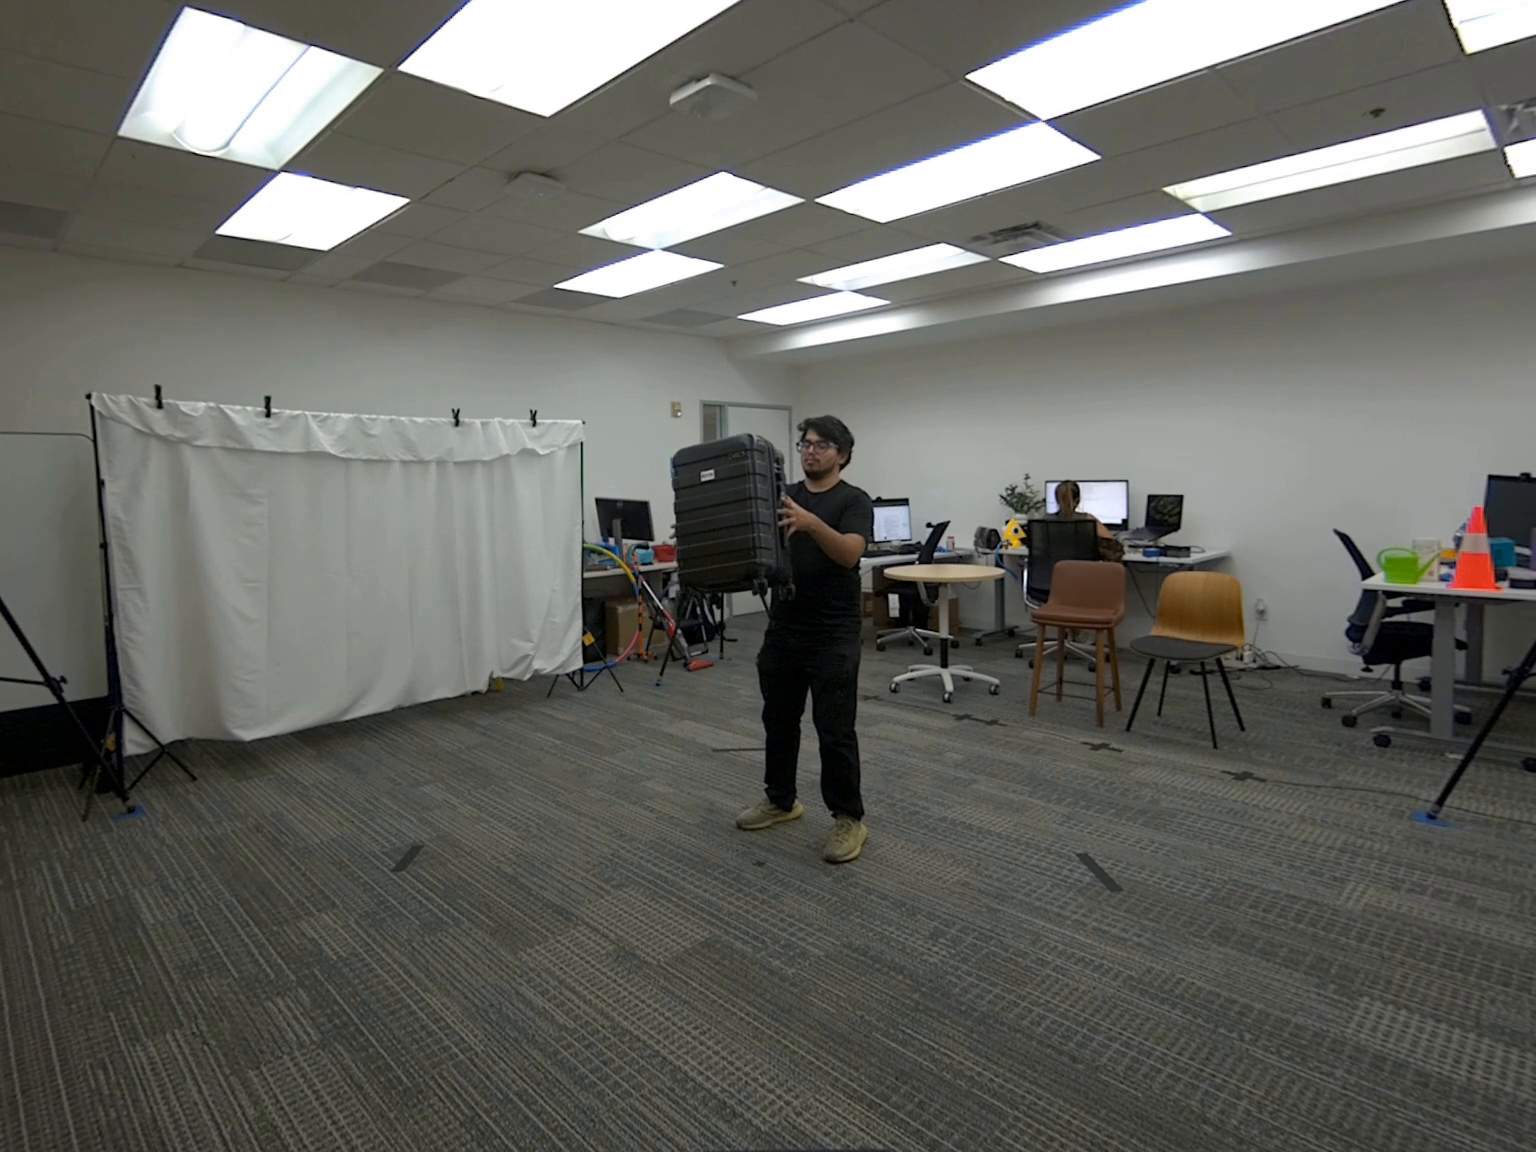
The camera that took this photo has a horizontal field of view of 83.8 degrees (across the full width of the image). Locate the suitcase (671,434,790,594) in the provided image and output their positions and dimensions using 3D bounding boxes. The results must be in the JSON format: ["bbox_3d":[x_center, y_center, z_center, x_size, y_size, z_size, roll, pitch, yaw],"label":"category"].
[{"bbox_3d":[-0.117,-0.192,2.877,0.384,0.555,0.240,-9,-11,31],"label":"suitcase"}]
